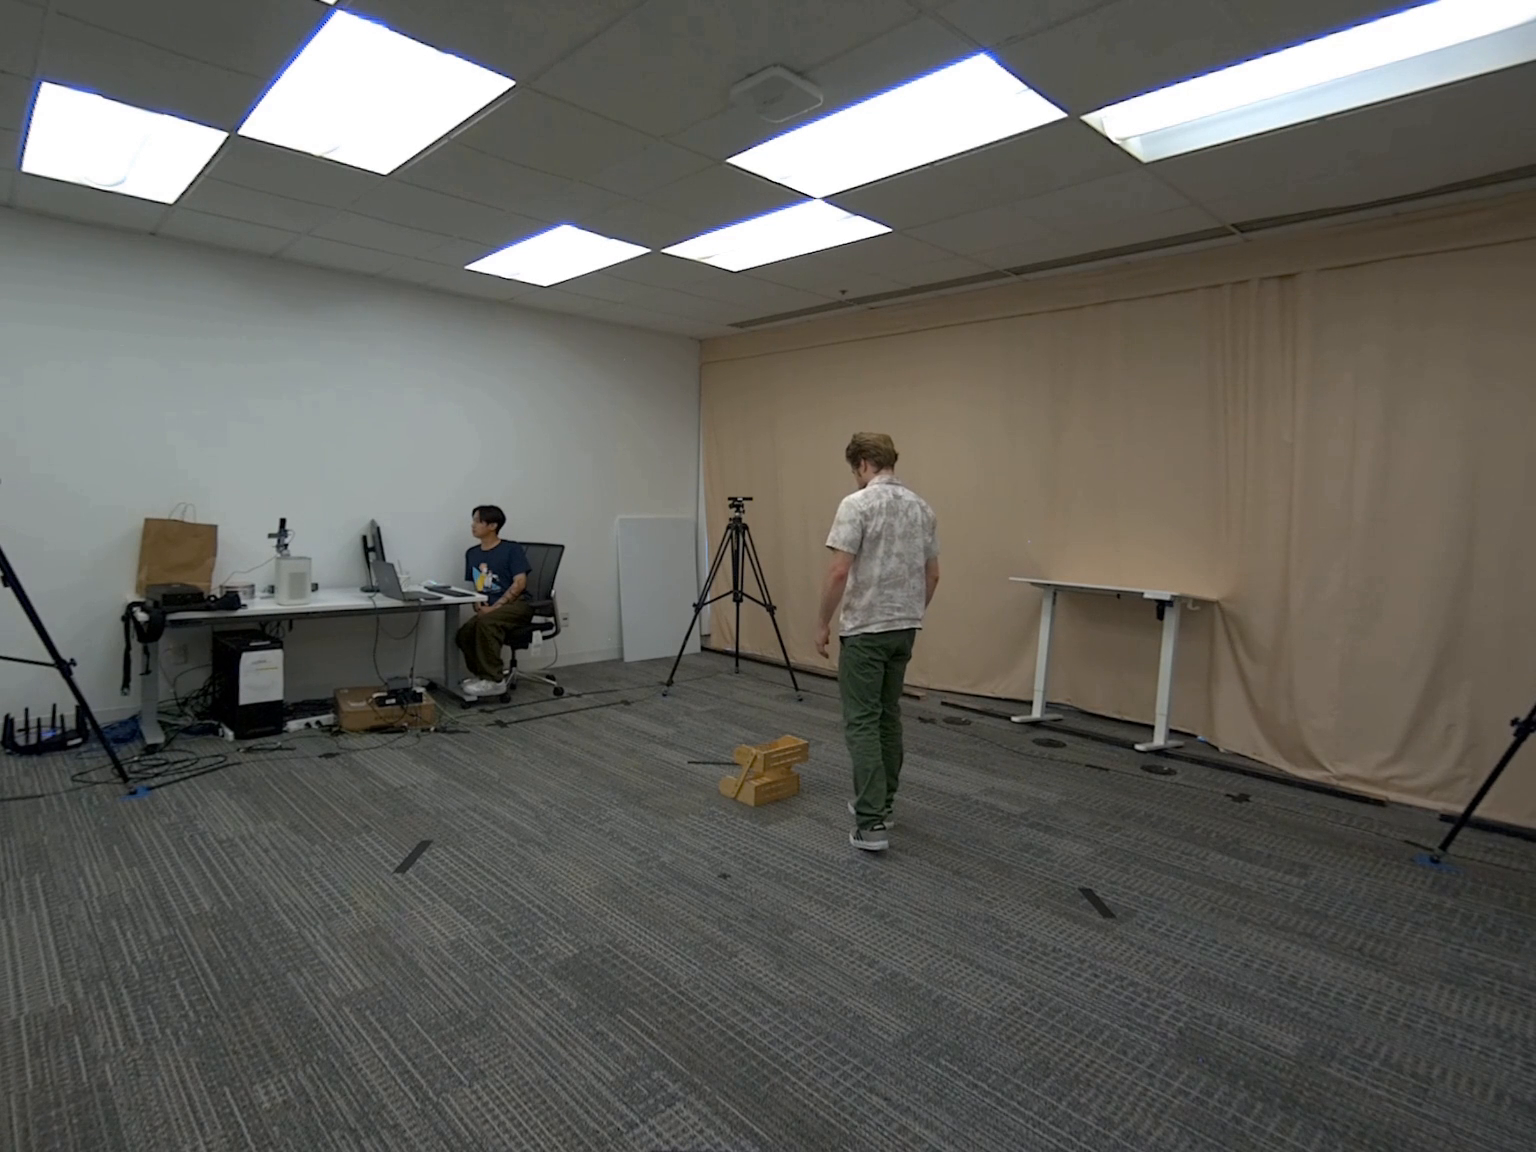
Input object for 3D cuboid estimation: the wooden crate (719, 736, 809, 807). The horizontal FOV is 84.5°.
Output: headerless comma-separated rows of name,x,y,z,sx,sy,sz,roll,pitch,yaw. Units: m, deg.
wooden crate,-0.032,0.901,3.999,0.317,0.272,0.310,-3,7,-44
